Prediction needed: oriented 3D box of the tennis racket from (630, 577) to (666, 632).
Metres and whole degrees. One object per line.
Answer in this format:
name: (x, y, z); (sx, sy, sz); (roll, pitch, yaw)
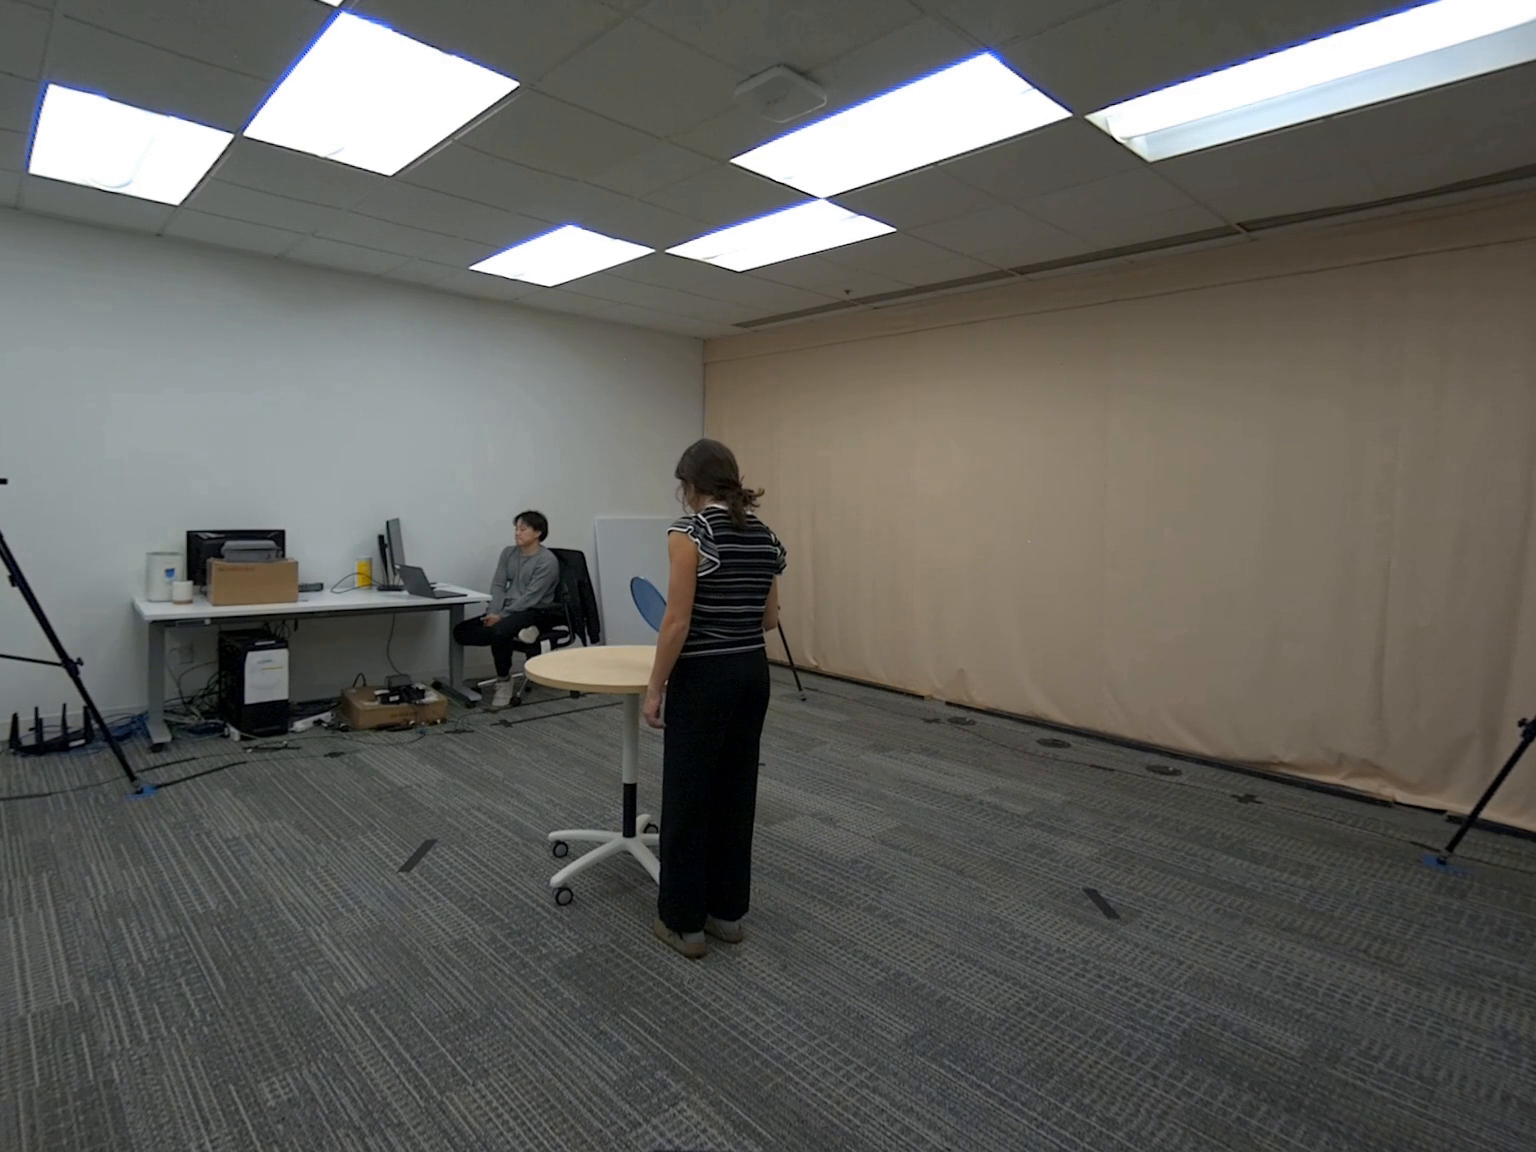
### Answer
tennis racket: (-0.378, 0.159, 3.004); (0.031, 0.209, 0.446); (-24, 48, -30)
